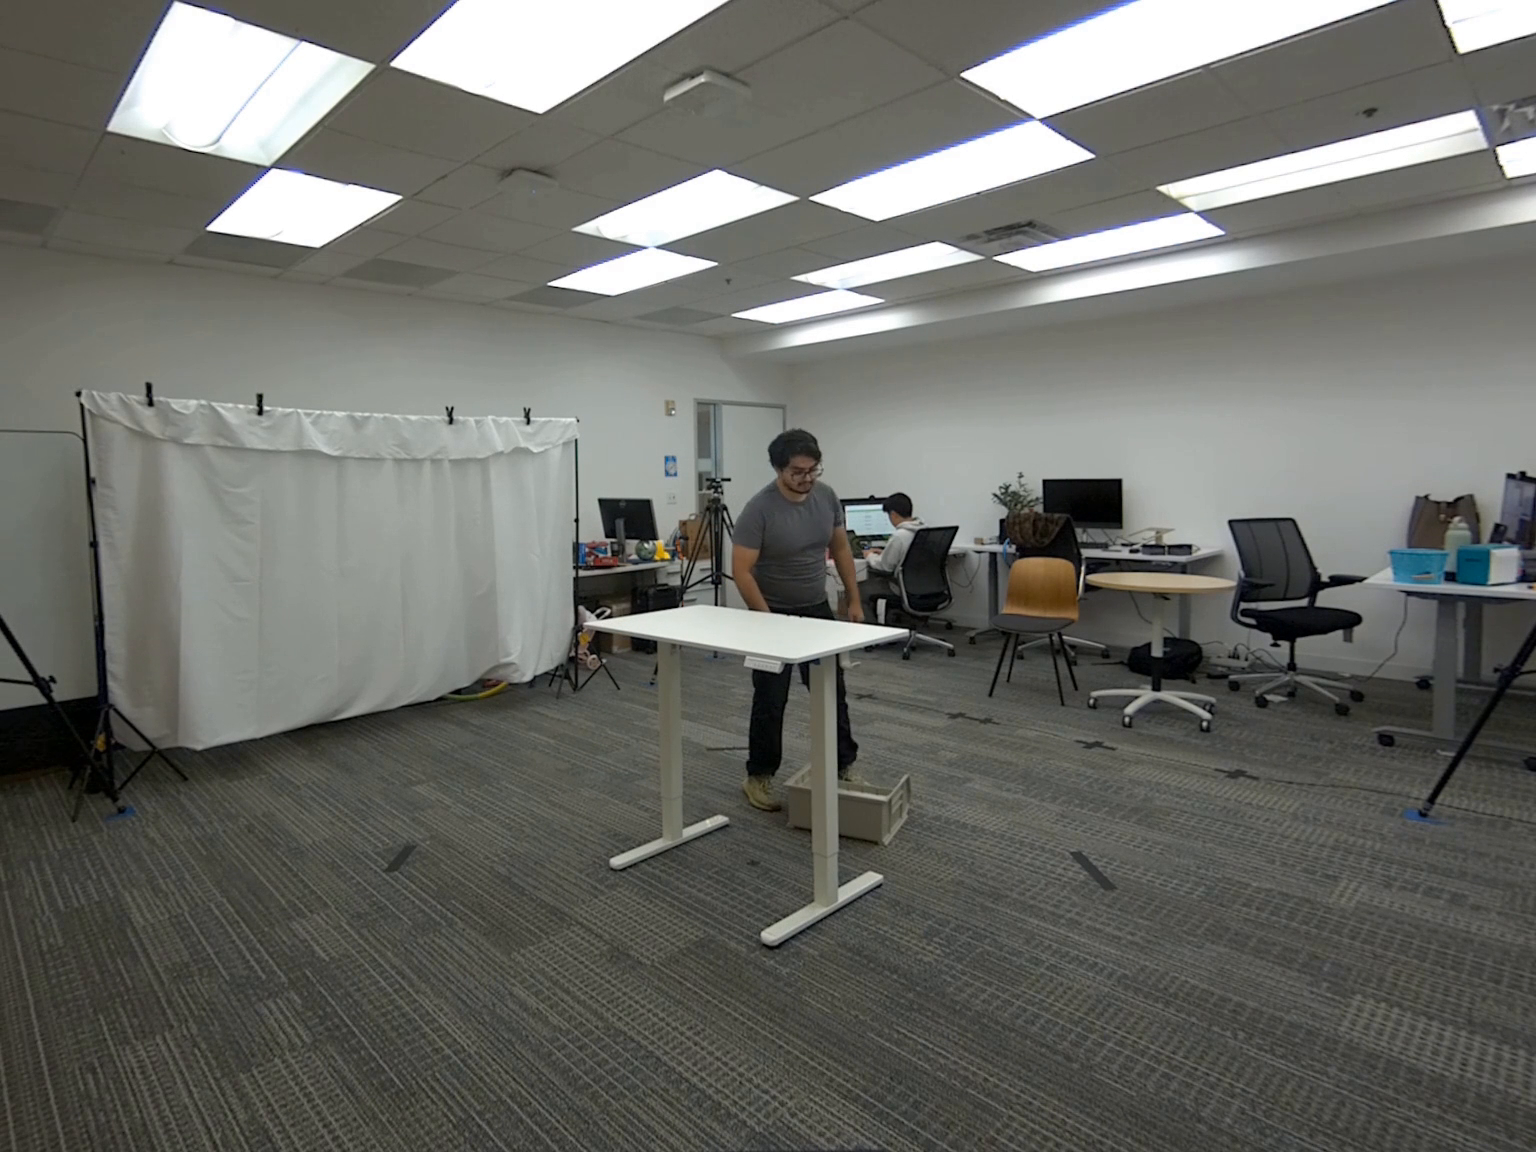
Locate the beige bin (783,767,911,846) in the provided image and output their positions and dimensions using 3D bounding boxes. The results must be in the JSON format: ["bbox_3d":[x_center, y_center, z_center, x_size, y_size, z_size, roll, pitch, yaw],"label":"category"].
[{"bbox_3d":[0.325,0.906,3.477,0.433,0.188,0.370,3,8,26],"label":"beige bin"}]
